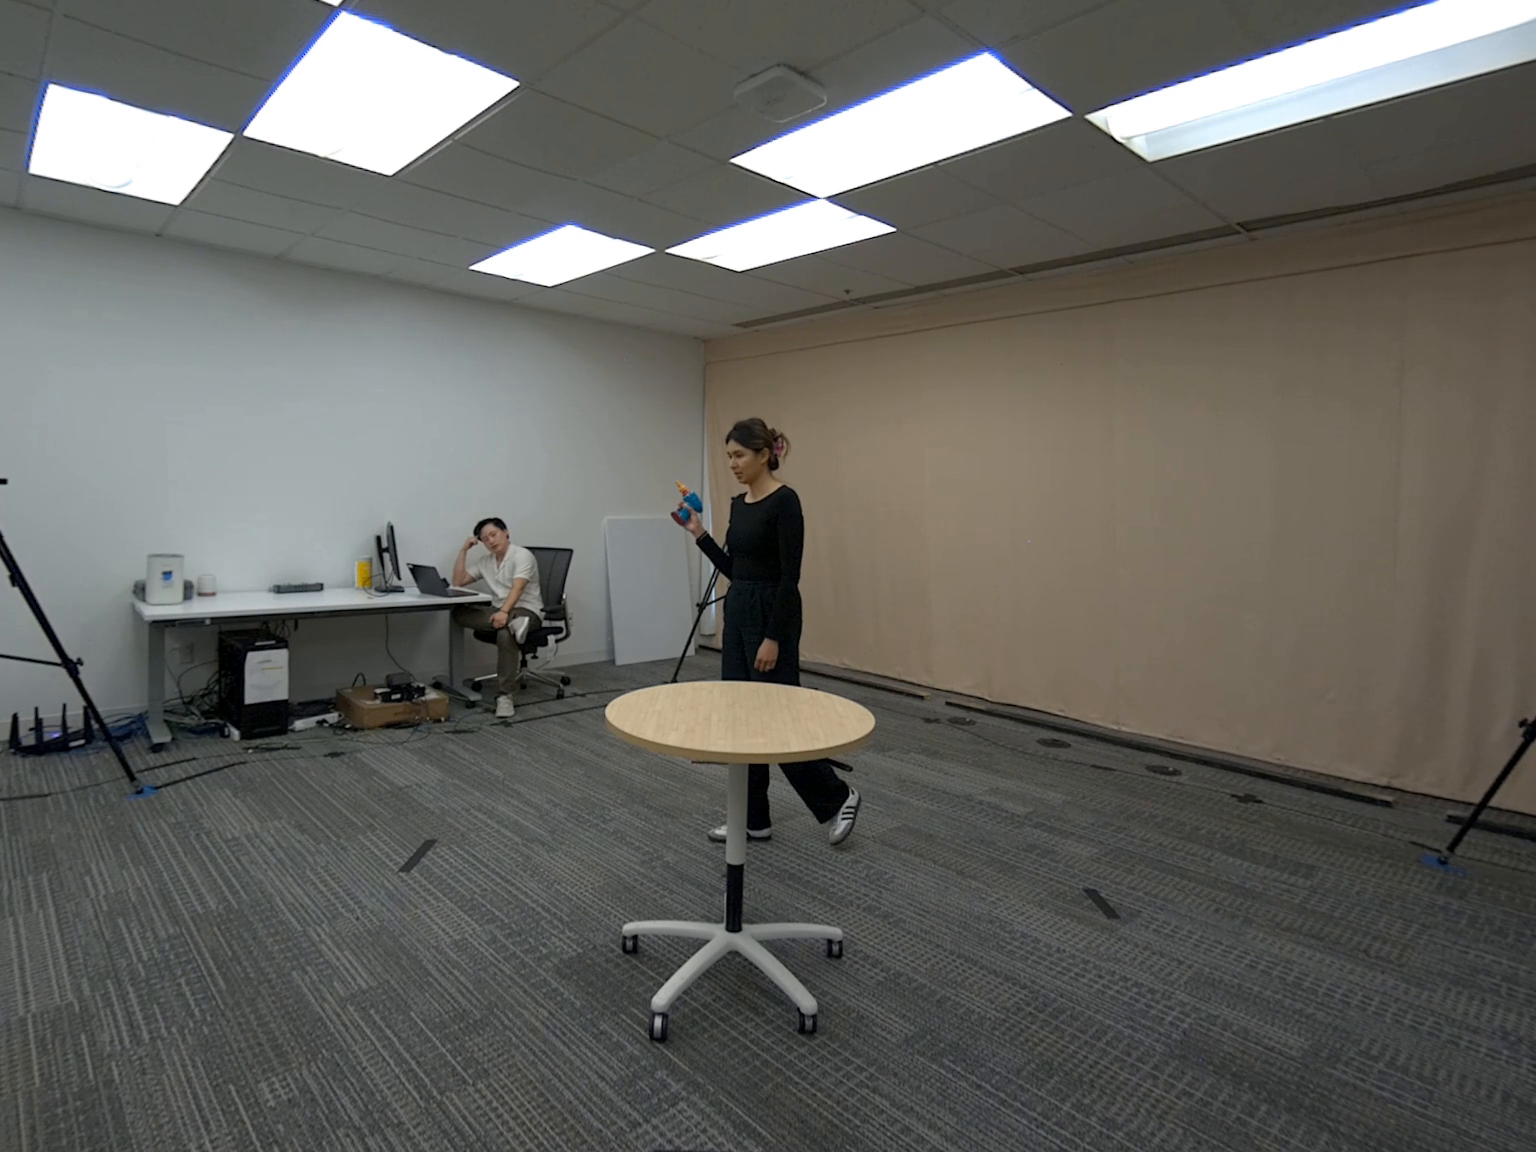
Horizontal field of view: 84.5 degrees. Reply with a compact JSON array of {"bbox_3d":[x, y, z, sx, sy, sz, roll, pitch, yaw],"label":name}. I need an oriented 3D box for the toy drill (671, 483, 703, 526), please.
[{"bbox_3d":[-0.363,-0.312,3.555,0.146,0.168,0.062,-43,9,-21],"label":"toy drill"}]
